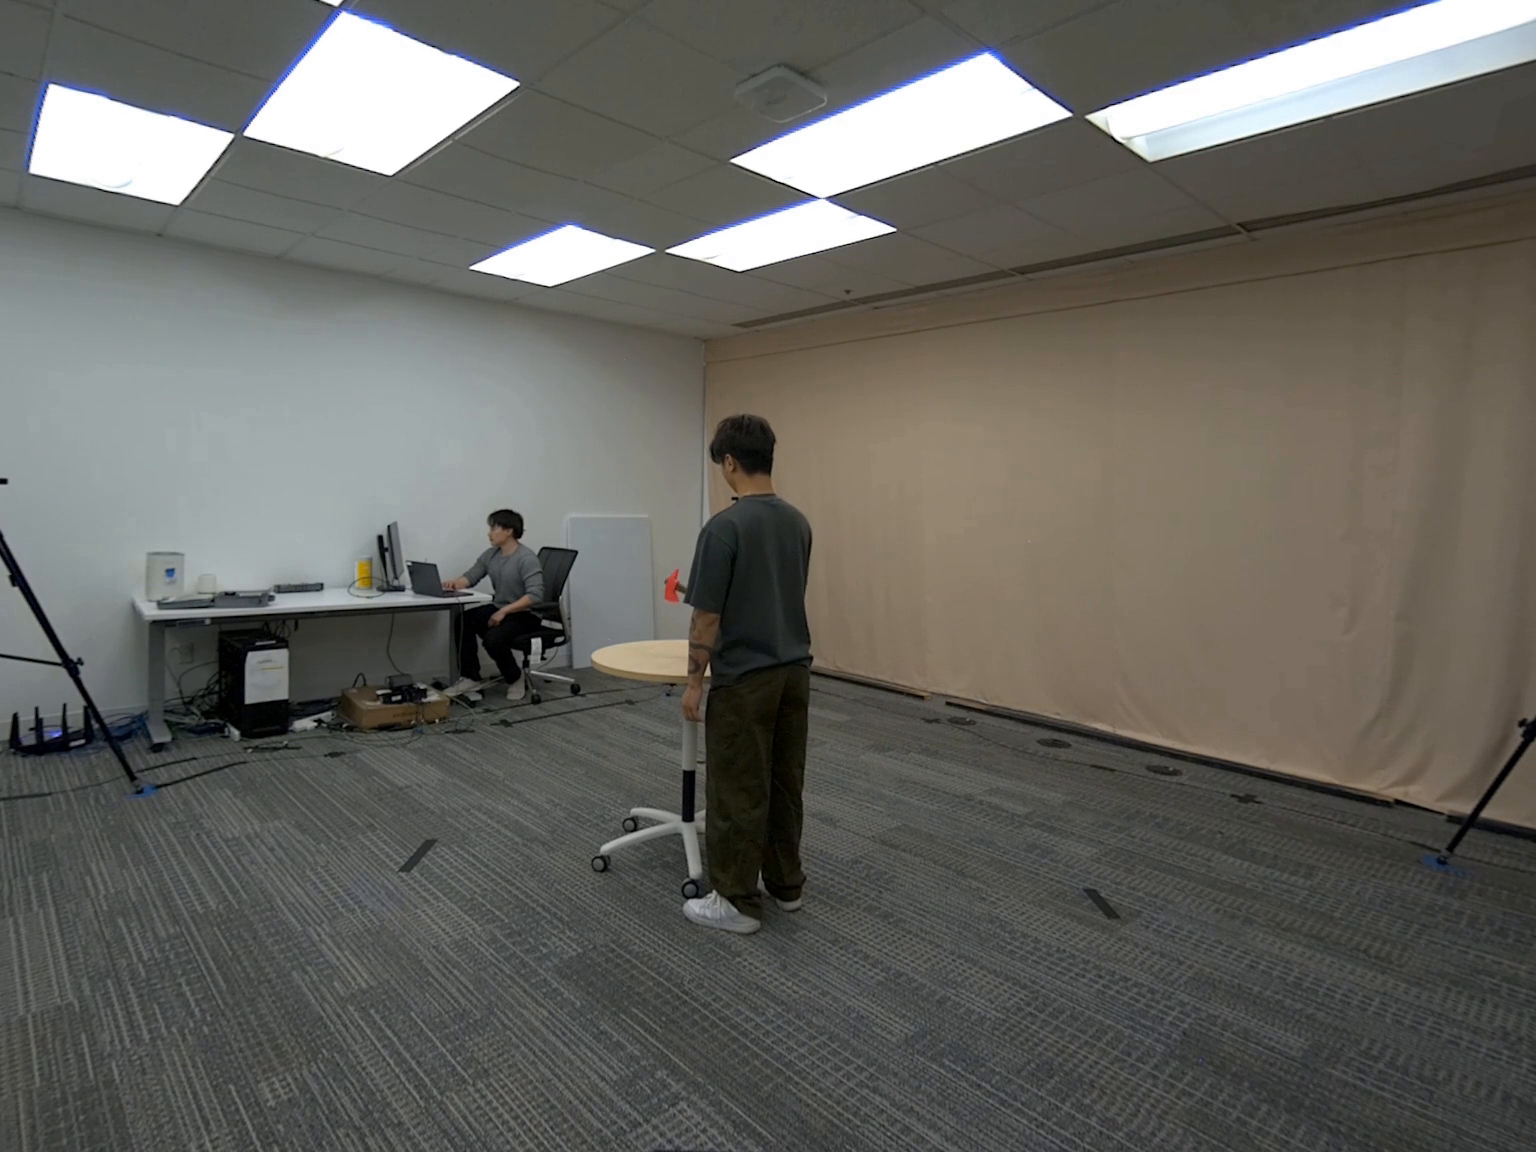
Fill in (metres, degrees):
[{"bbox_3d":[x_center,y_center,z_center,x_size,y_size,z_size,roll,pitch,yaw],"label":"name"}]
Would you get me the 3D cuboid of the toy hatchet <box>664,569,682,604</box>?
[{"bbox_3d":[-0.309,0.107,3.219,0.275,0.131,0.029,46,18,18],"label":"toy hatchet"}]
